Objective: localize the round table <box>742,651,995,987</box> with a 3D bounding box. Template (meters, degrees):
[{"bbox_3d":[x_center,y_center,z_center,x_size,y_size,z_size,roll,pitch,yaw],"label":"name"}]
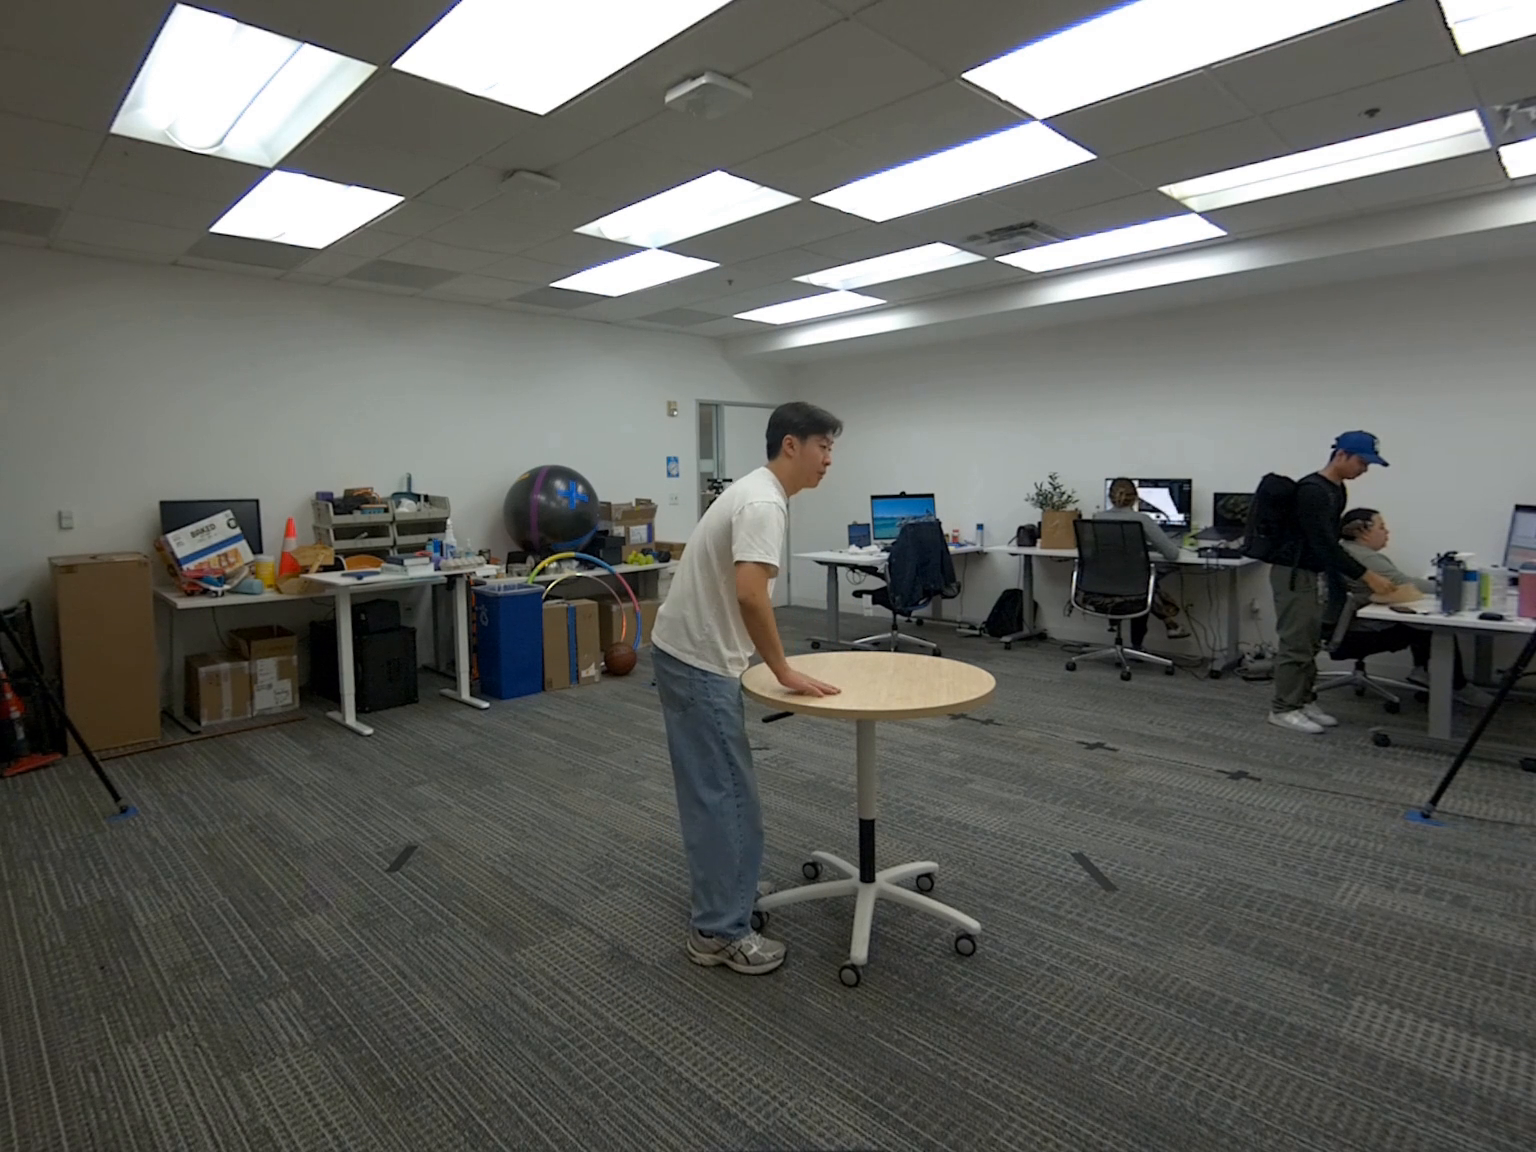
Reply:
[{"bbox_3d":[0.310,0.698,2.660,0.763,0.791,0.768,-1,5,-2],"label":"round table"}]
